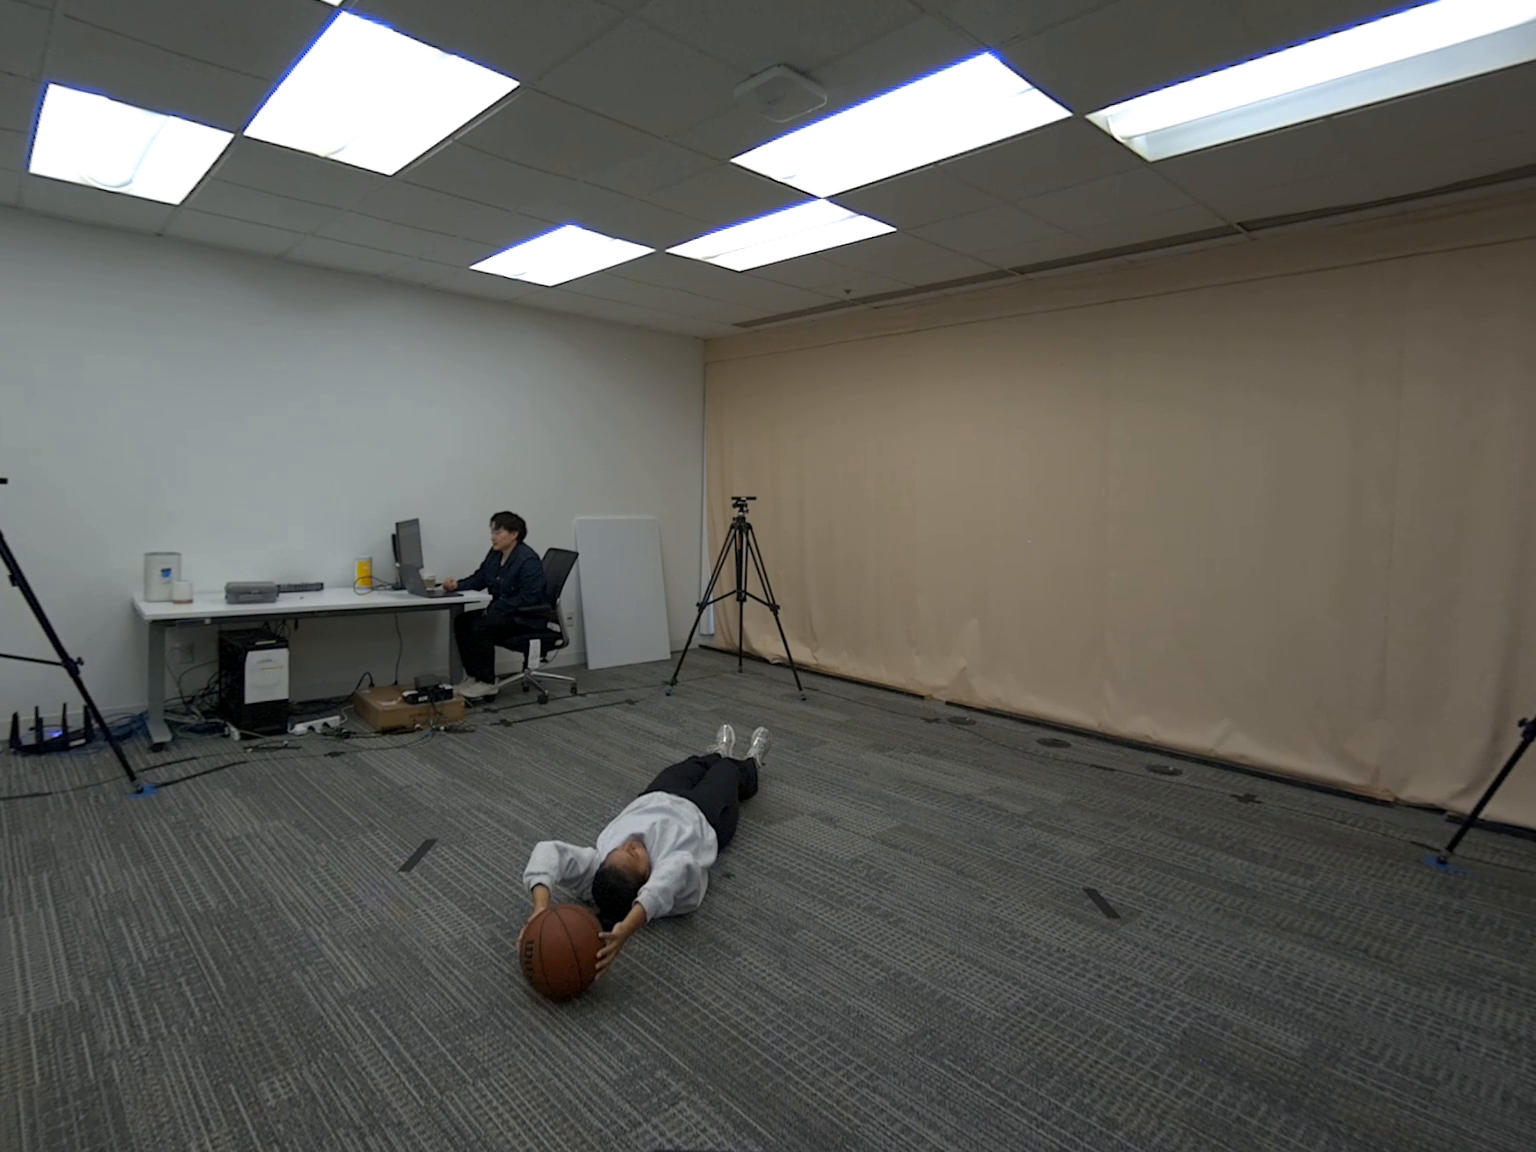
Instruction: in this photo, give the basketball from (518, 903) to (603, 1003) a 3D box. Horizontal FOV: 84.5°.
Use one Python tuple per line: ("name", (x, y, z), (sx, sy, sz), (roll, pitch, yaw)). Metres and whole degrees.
("basketball", (-0.577, 1.036, 2.346), (0.236, 0.235, 0.237), (1, 5, -1))
